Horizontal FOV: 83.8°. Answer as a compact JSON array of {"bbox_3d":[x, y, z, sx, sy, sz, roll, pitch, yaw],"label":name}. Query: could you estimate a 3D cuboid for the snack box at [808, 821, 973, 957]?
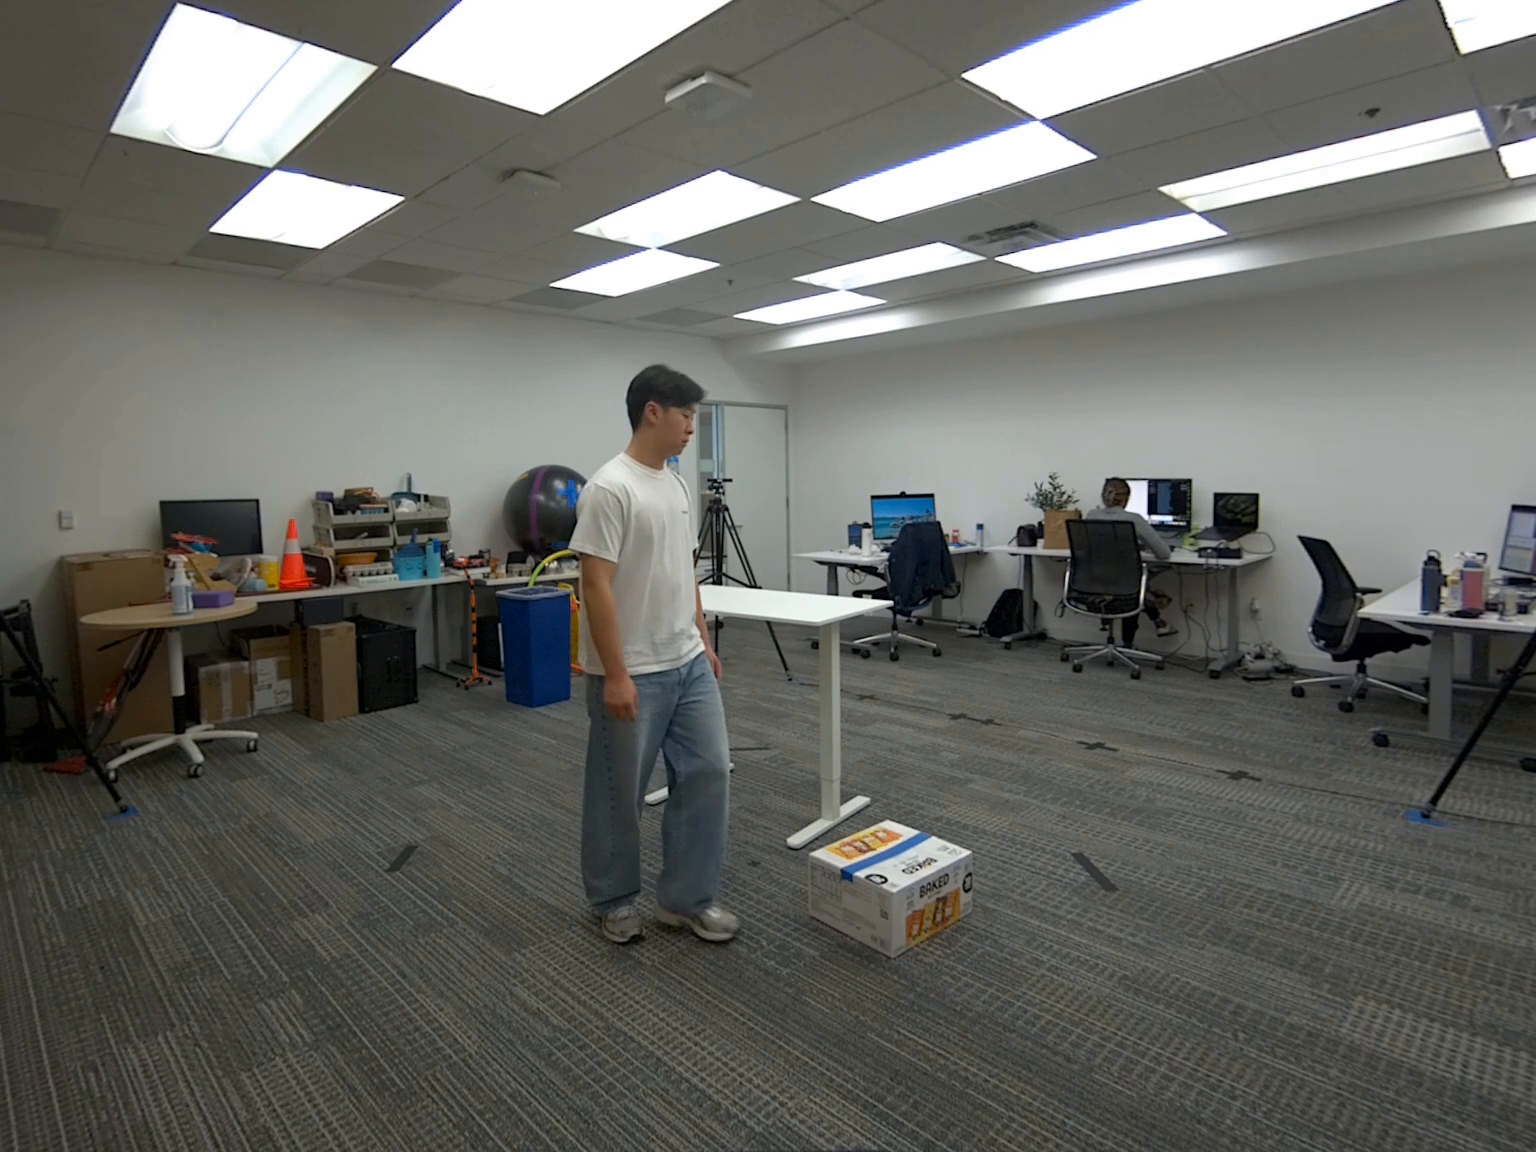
[{"bbox_3d":[0.394,0.980,2.719,0.394,0.205,0.351,-6,7,-41],"label":"snack box"}]
